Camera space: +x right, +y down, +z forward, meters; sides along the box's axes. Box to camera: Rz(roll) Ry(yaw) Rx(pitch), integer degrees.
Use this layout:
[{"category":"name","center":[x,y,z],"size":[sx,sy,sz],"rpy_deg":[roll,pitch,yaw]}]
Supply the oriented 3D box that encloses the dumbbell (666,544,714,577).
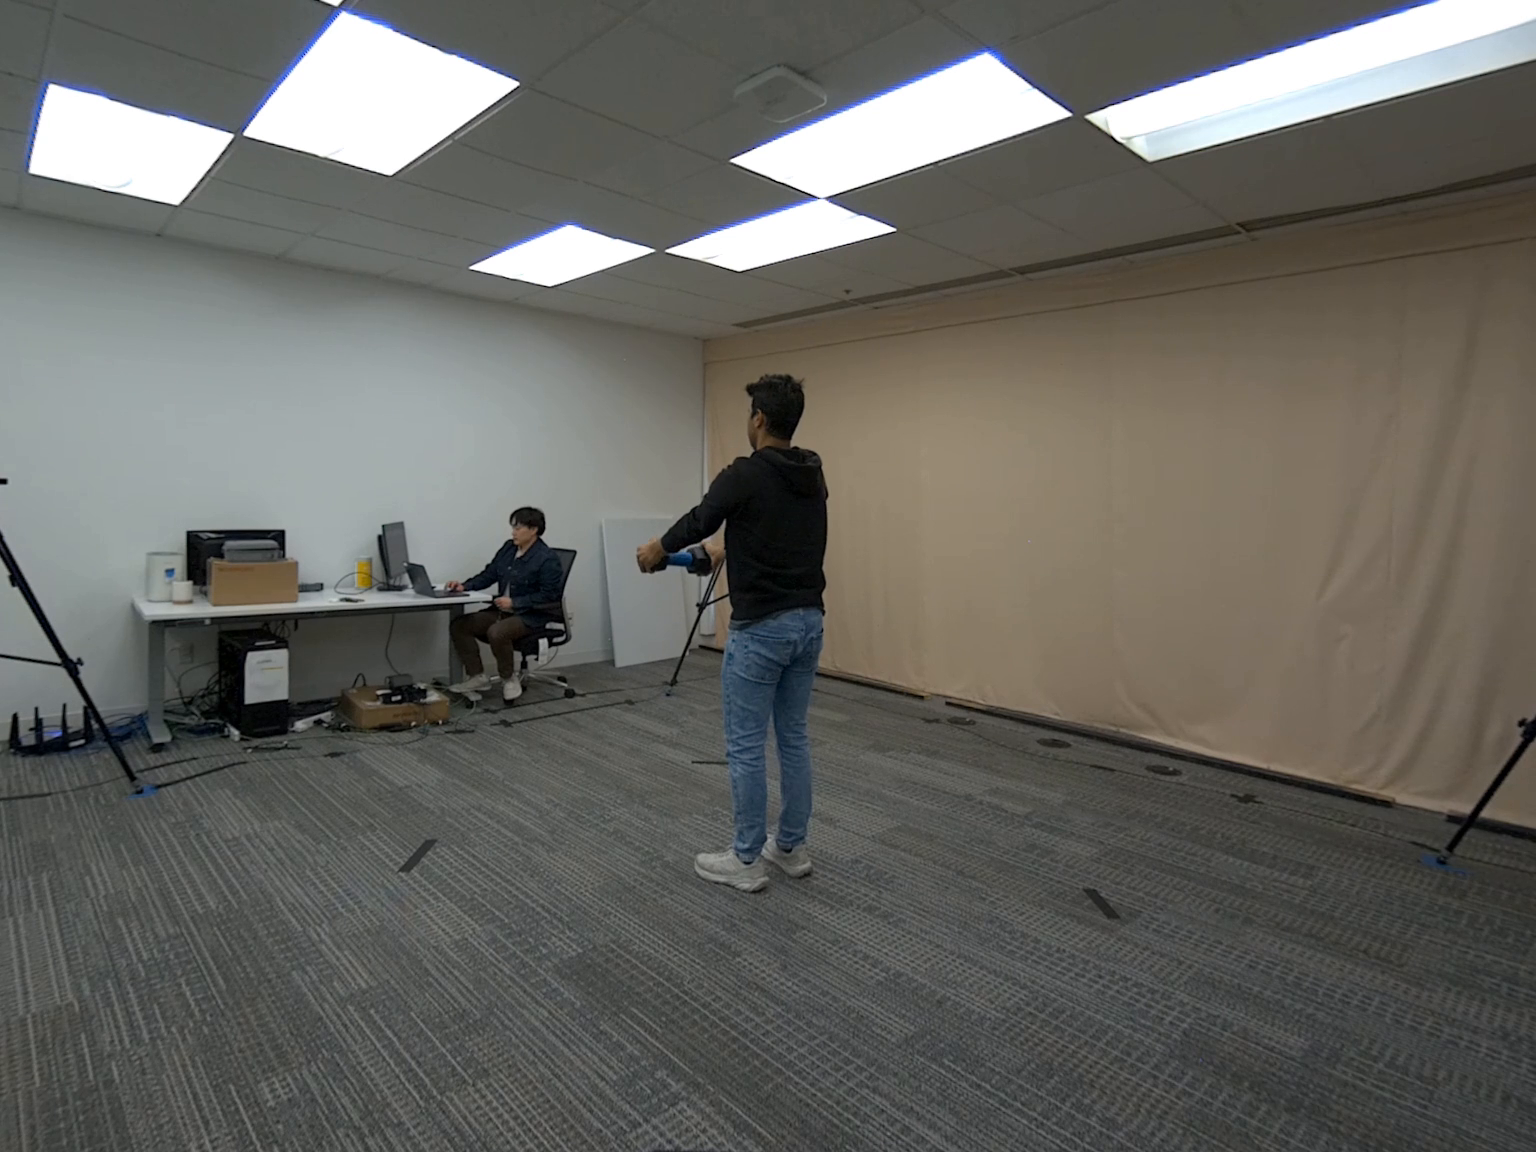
[{"category":"dumbbell","center":[-0.382,-0.102,3.434],"size":[0.287,0.126,0.108],"rpy_deg":[2,-35,-35]}]
